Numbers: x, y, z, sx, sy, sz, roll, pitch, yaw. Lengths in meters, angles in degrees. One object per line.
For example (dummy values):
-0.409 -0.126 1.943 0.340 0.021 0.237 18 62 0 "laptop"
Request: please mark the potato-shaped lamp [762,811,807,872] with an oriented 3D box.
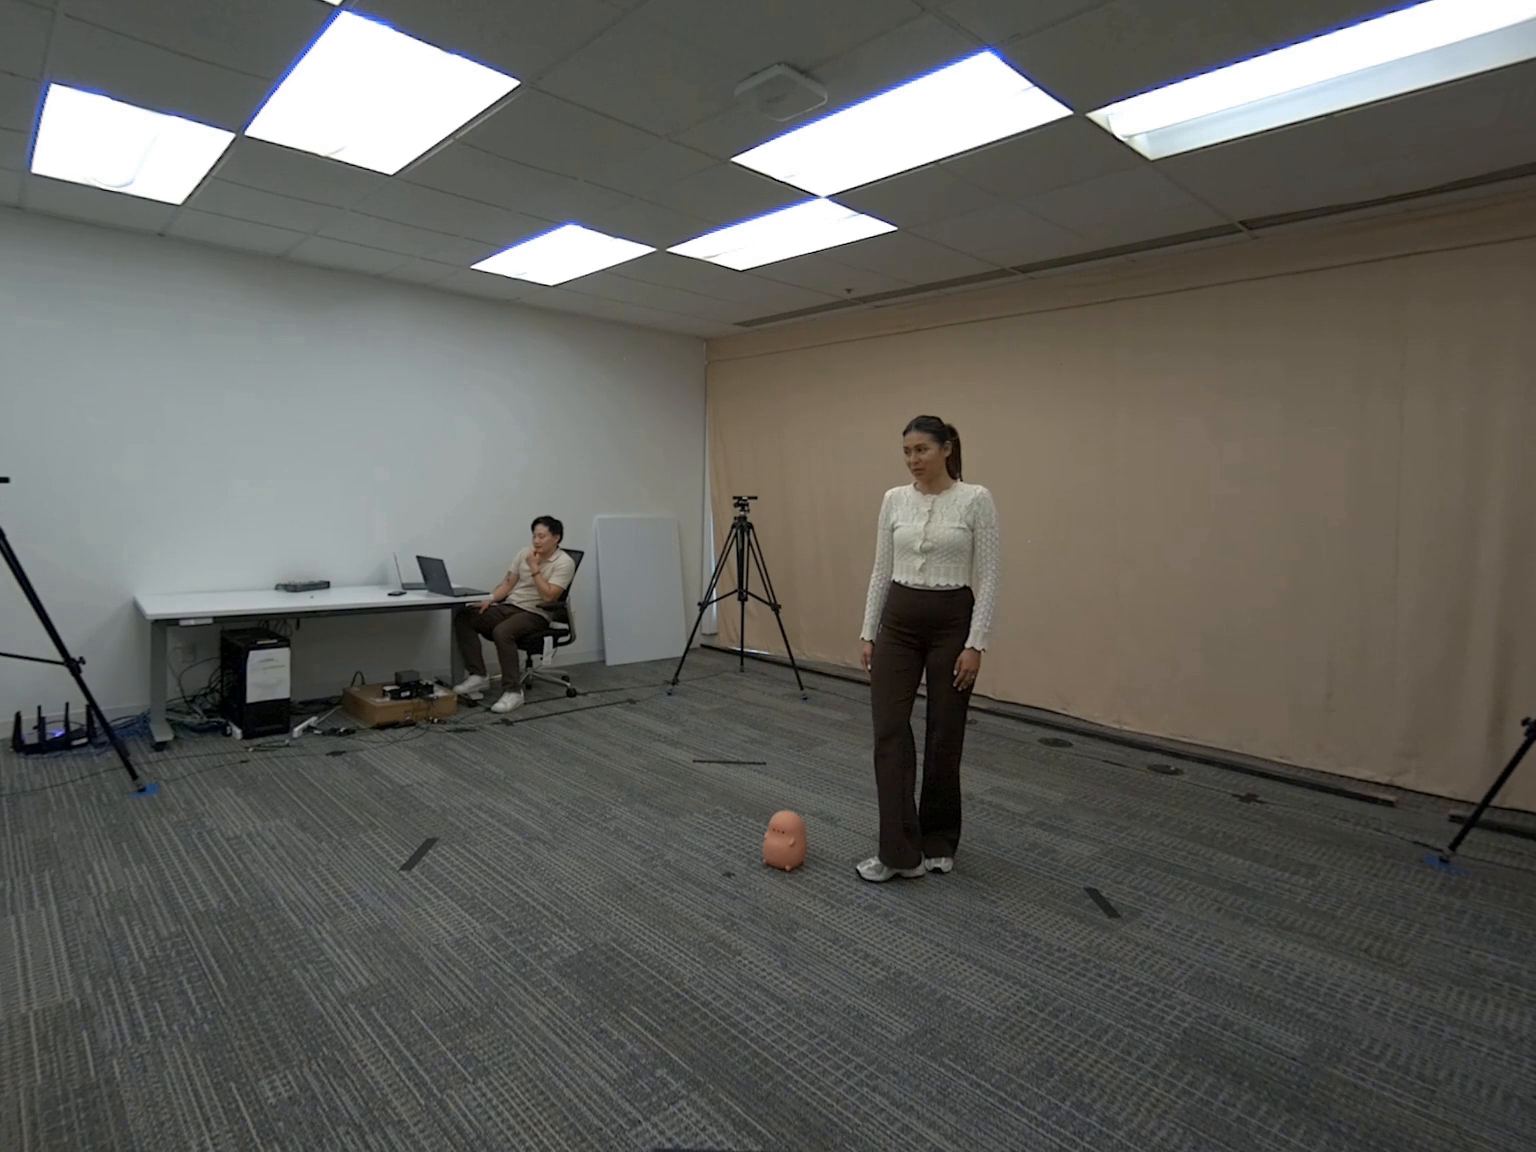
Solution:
0.061 0.992 3.210 0.168 0.198 0.168 4 4 33 "potato-shaped lamp"
